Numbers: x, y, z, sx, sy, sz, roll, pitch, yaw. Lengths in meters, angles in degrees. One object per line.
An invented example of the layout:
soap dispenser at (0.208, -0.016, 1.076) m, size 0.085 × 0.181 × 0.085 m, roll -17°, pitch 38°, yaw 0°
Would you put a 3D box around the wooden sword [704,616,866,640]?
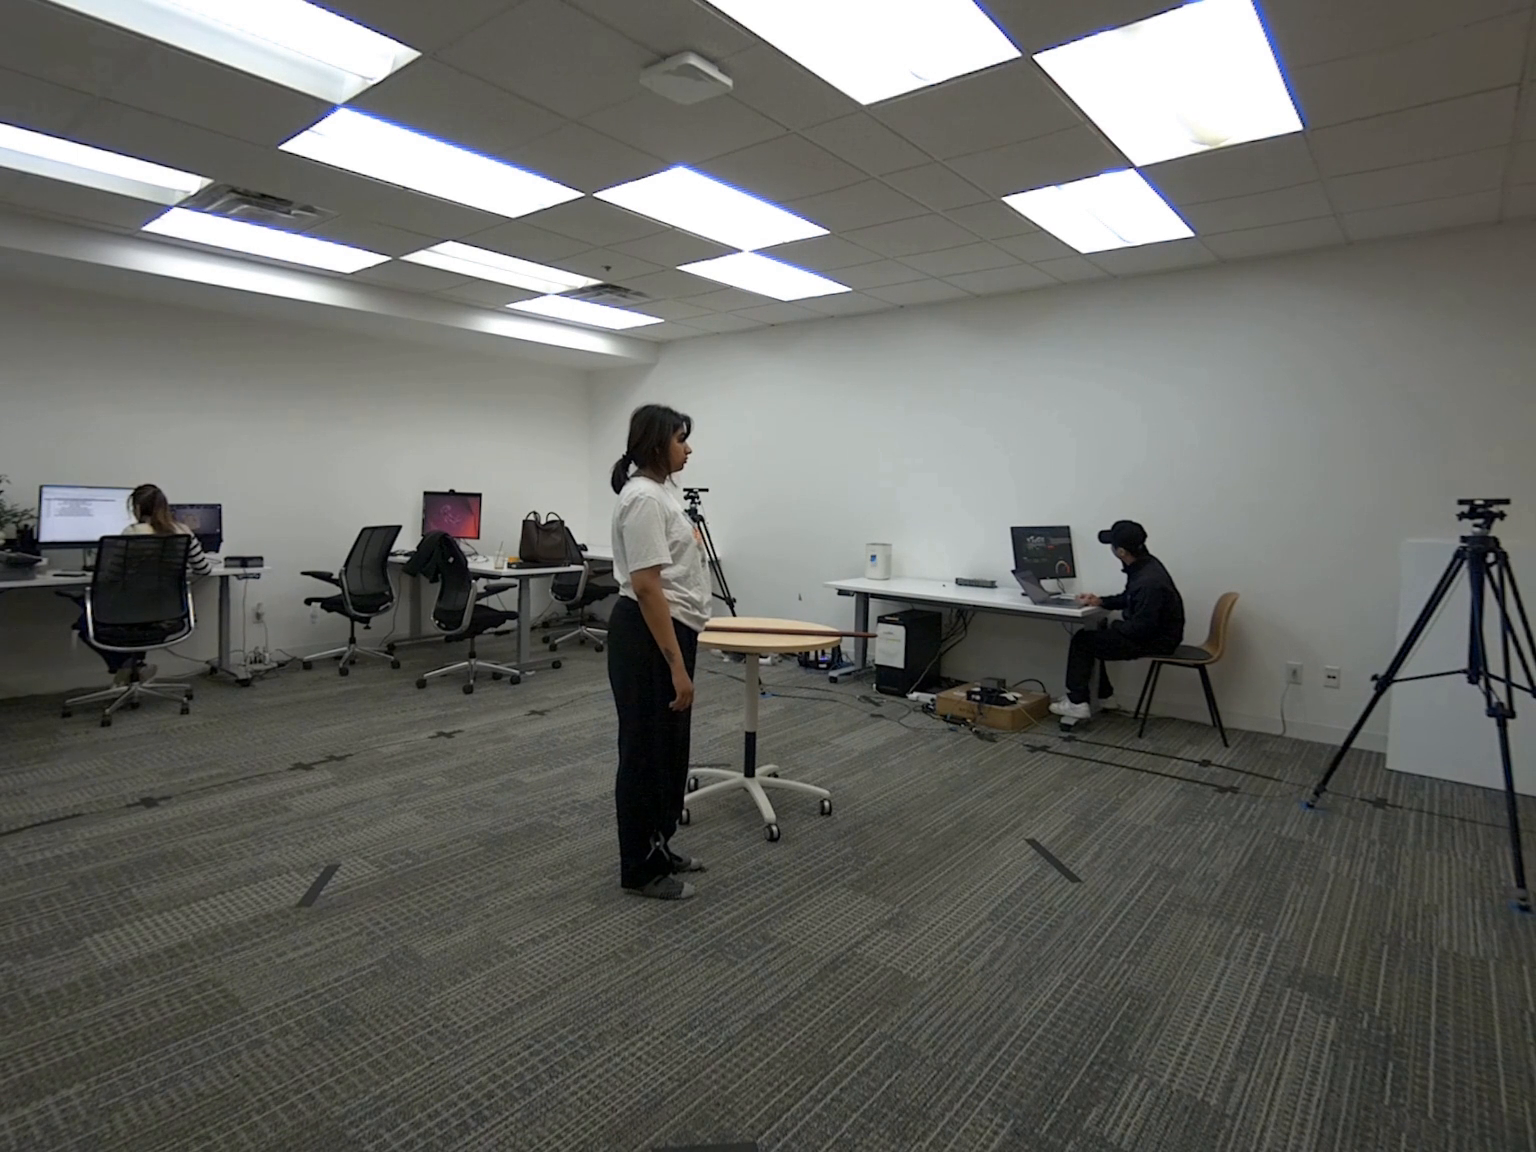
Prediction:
wooden sword at (-0.136, 0.208, 3.599) m, size 1.030 × 0.024 × 0.050 m, roll 3°, pitch -32°, yaw 5°
